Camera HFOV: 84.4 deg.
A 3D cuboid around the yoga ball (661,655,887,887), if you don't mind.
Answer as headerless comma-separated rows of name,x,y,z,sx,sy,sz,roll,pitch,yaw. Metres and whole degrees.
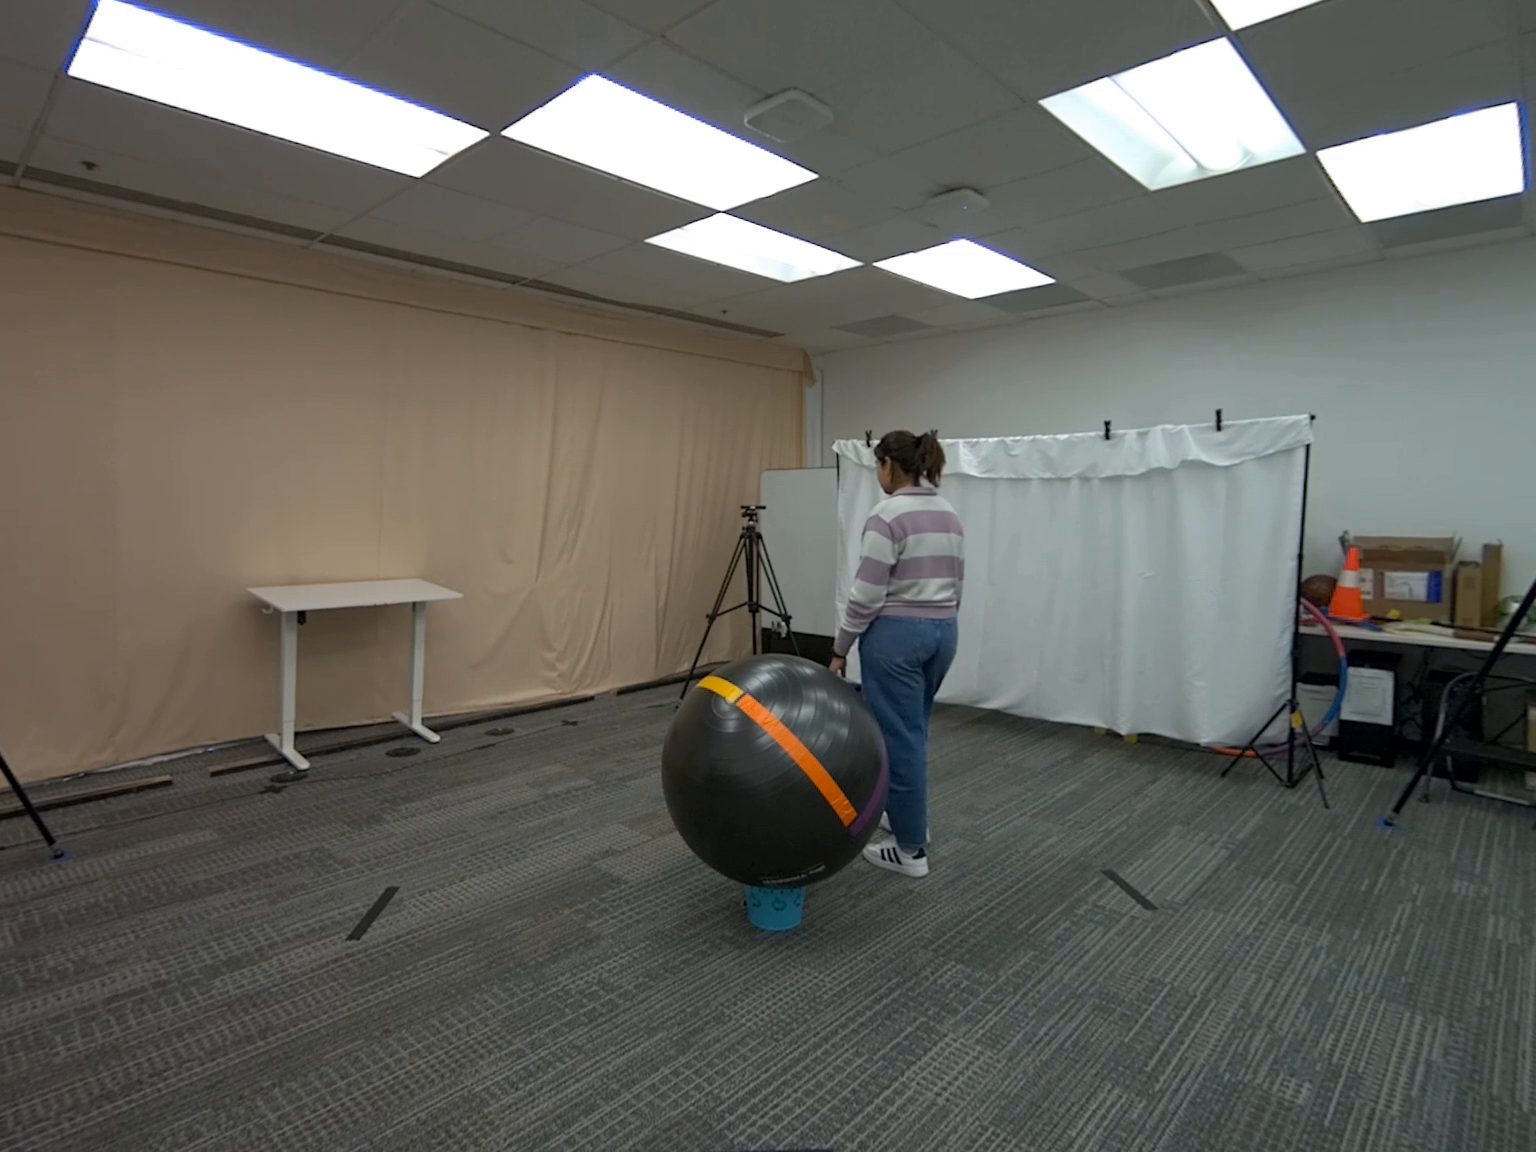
yoga ball,0.024,0.644,2.828,0.757,0.756,0.760,0,4,-2
